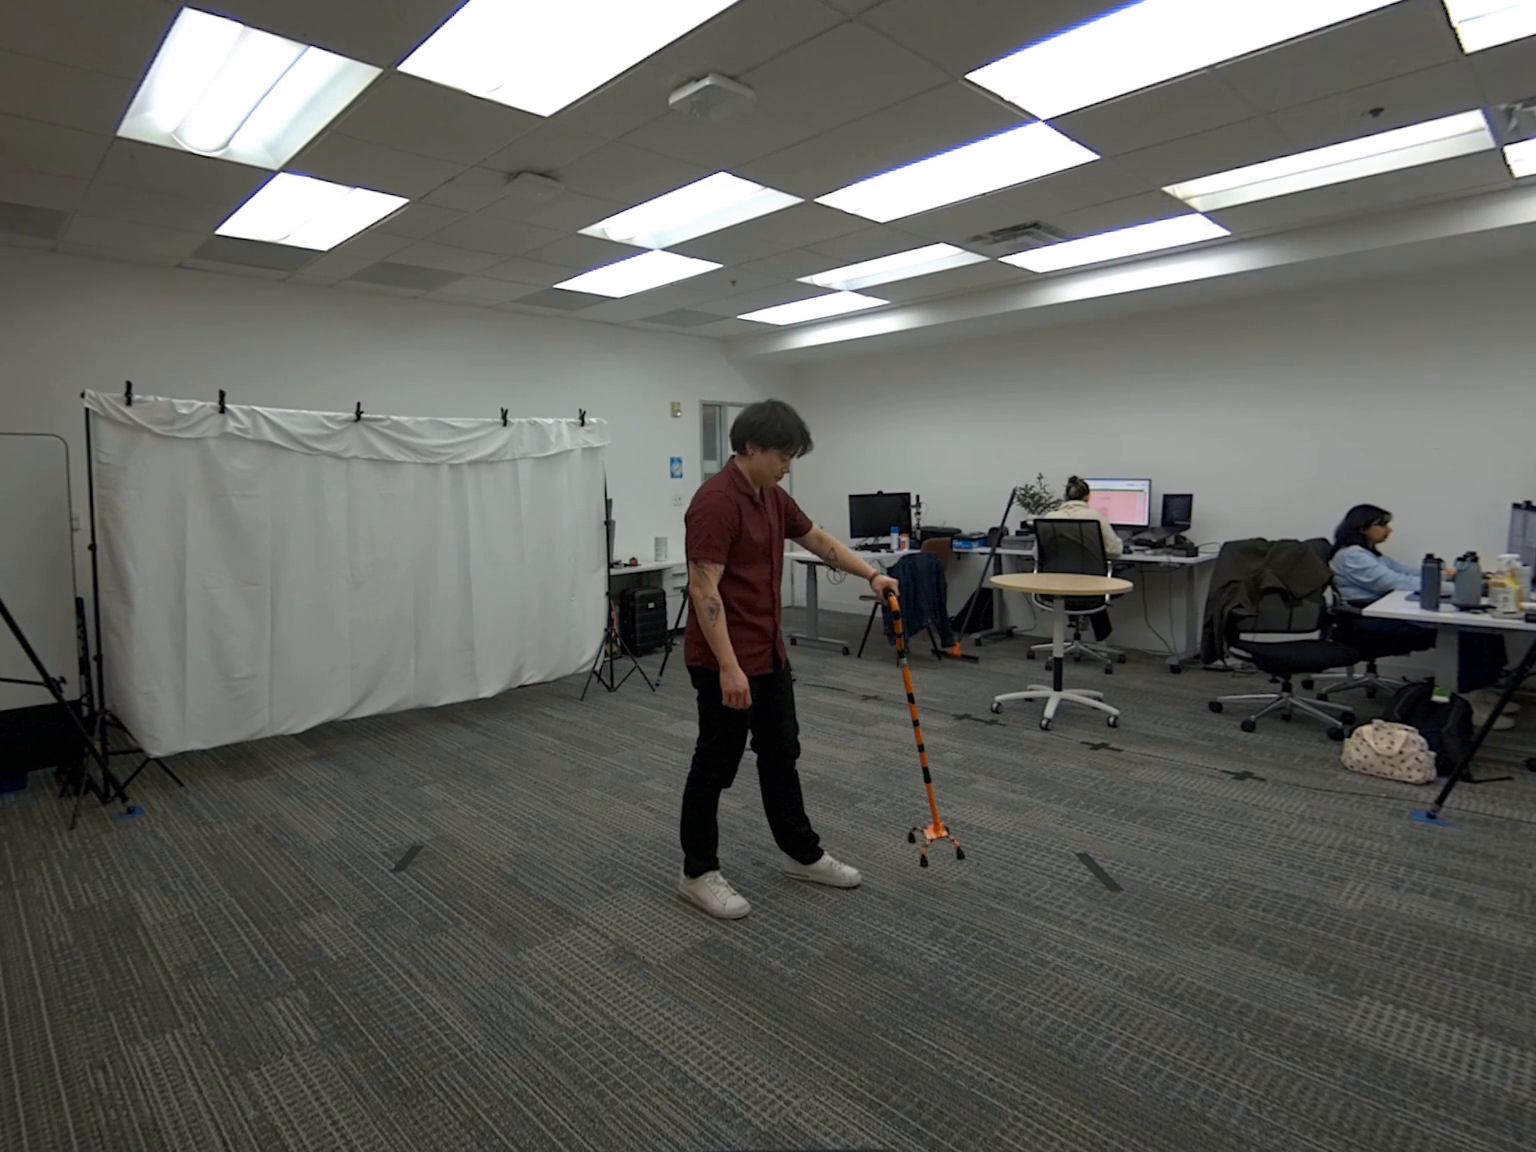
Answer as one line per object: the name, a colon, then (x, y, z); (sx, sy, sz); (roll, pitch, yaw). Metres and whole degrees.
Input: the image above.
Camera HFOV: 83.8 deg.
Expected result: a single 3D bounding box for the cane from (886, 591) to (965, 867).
cane: (0.478, 0.493, 2.873); (0.151, 0.903, 0.208); (-11, 5, -5)
